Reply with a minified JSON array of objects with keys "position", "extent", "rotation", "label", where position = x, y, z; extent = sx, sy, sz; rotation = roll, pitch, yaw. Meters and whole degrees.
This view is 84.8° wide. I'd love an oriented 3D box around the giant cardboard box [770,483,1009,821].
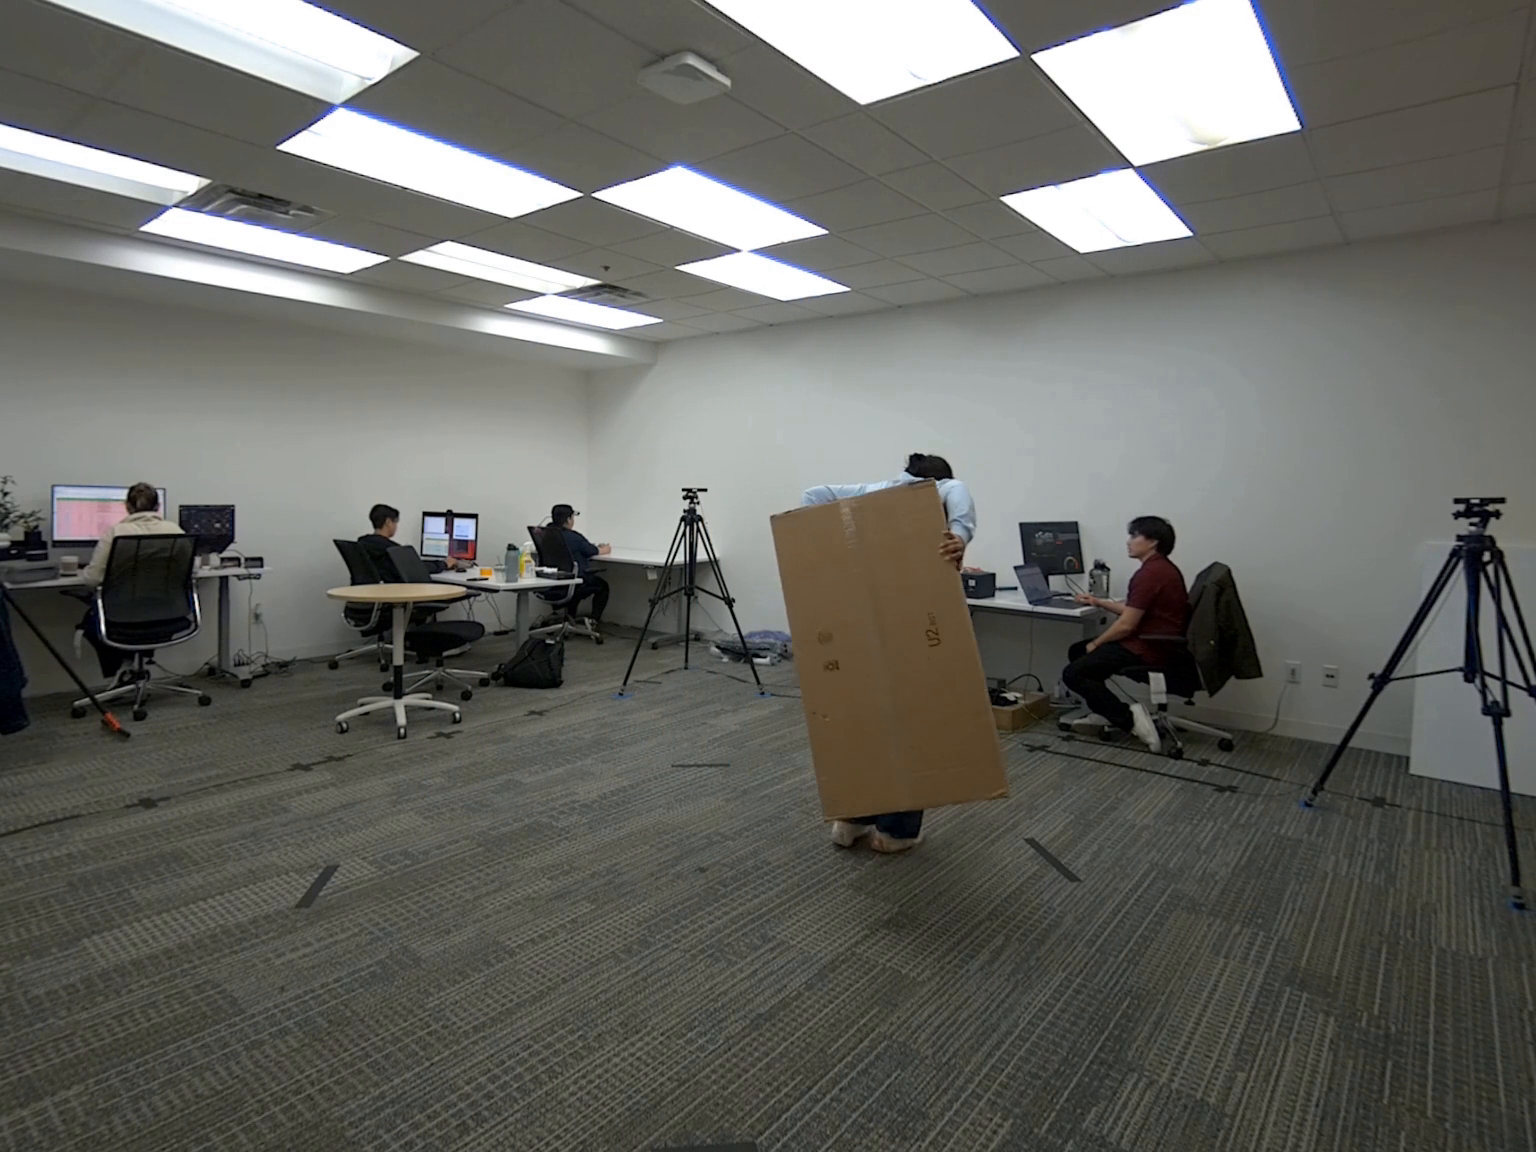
[{"position":[0.406,0.259,2.927],"extent":[0.585,1.043,0.414],"rotation":[-14,-15,15],"label":"giant cardboard box"}]
